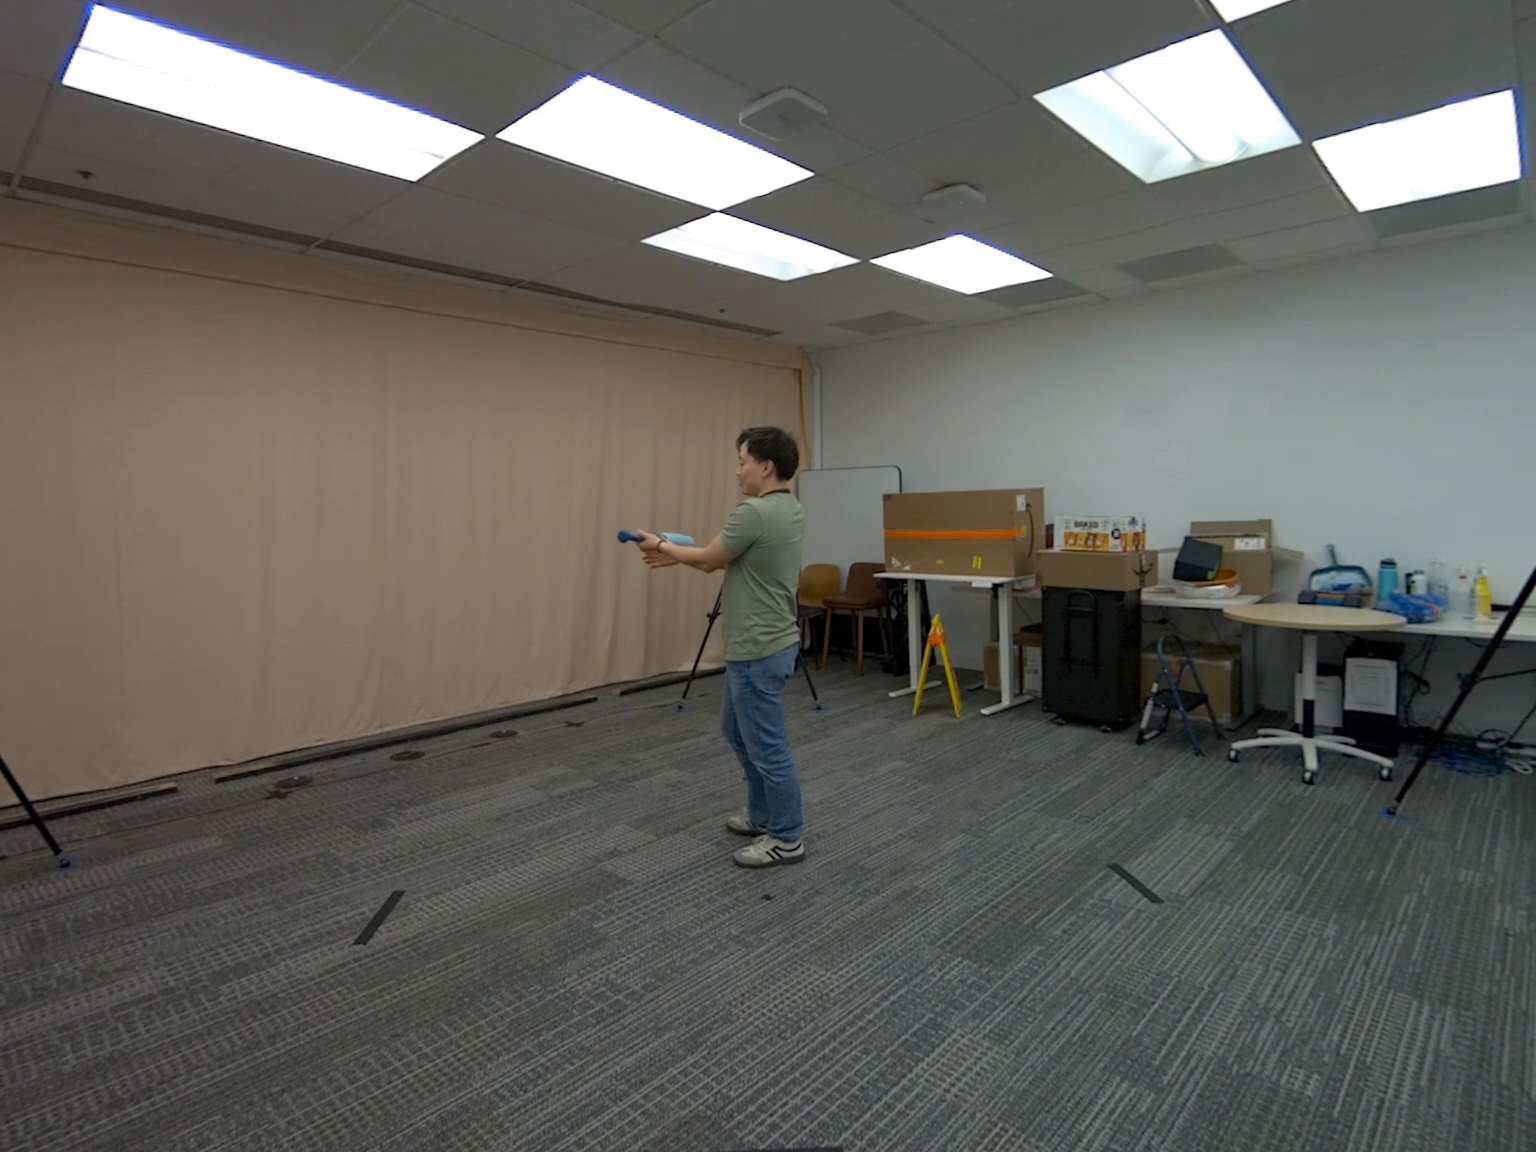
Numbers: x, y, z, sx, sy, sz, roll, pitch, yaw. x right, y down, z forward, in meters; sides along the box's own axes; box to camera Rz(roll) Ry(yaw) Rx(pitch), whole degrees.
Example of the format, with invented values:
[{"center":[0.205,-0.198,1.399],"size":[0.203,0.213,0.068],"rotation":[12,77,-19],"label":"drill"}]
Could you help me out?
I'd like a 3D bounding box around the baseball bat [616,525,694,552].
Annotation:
[{"center":[-0.448,-0.141,3.433],"size":[0.091,0.089,0.531],"rotation":[1,-1,18],"label":"baseball bat"}]
